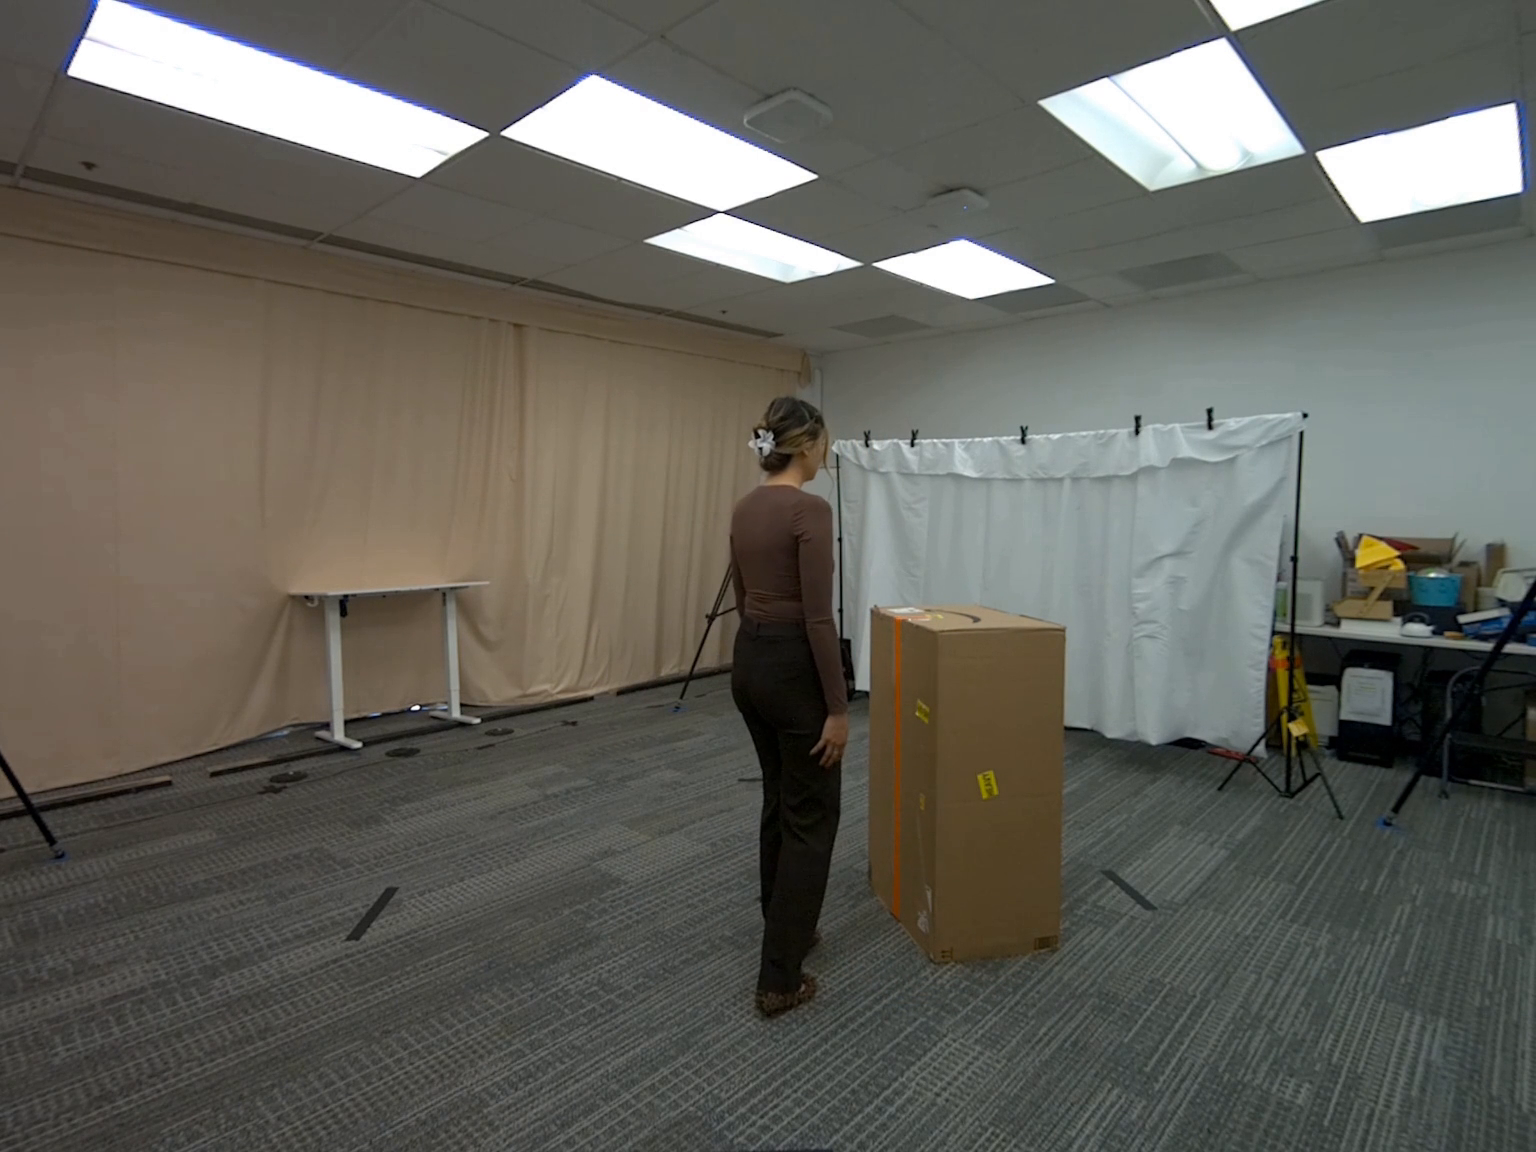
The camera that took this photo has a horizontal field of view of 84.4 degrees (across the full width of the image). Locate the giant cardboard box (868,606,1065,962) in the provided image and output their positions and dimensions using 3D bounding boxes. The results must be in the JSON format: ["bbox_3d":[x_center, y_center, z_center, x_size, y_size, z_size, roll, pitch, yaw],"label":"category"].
[{"bbox_3d":[0.647,0.639,2.845,0.442,1.025,0.592,-1,3,-12],"label":"giant cardboard box"}]
